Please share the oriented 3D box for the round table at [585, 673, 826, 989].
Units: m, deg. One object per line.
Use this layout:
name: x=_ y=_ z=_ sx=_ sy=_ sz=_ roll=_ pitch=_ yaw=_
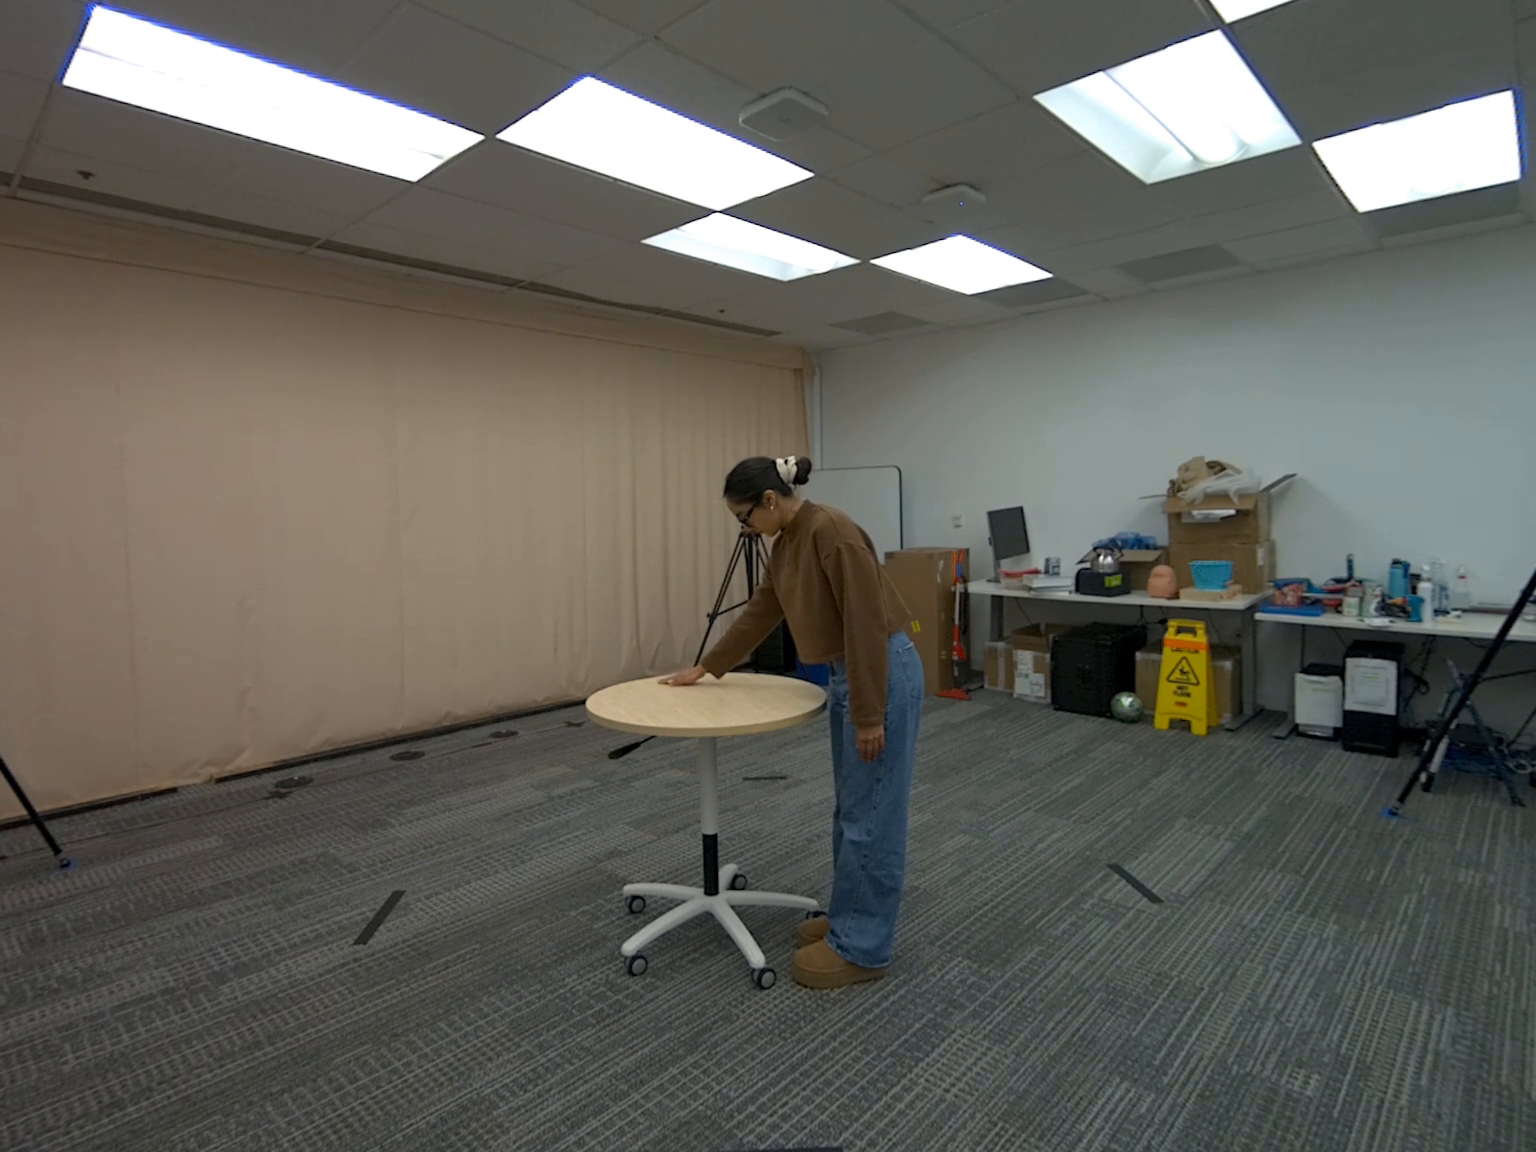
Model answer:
round table: x=-0.189 y=0.780 z=2.709 sx=0.763 sy=0.792 sz=0.767 roll=-2 pitch=4 yaw=-2
